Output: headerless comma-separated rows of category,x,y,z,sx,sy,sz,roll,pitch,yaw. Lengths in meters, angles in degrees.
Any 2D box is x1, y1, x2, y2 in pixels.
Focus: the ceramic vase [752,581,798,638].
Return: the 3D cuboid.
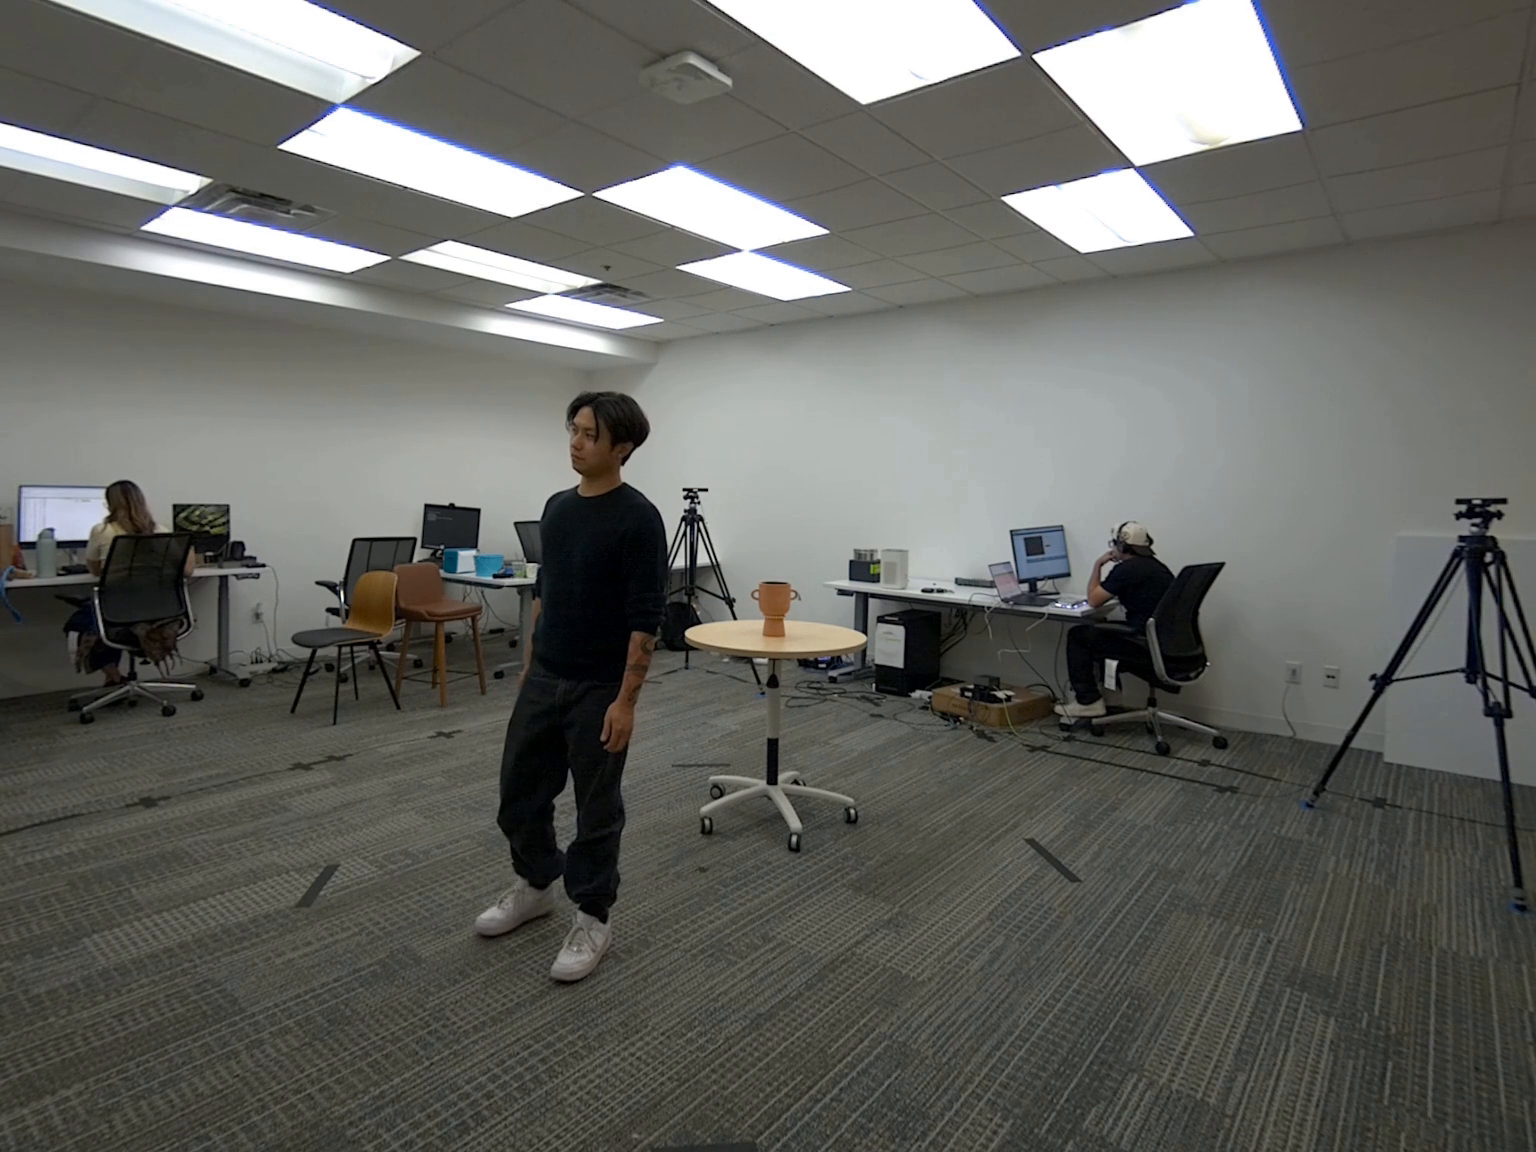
ceramic vase,0.020,0.136,3.575,0.164,0.219,0.131,4,6,33
